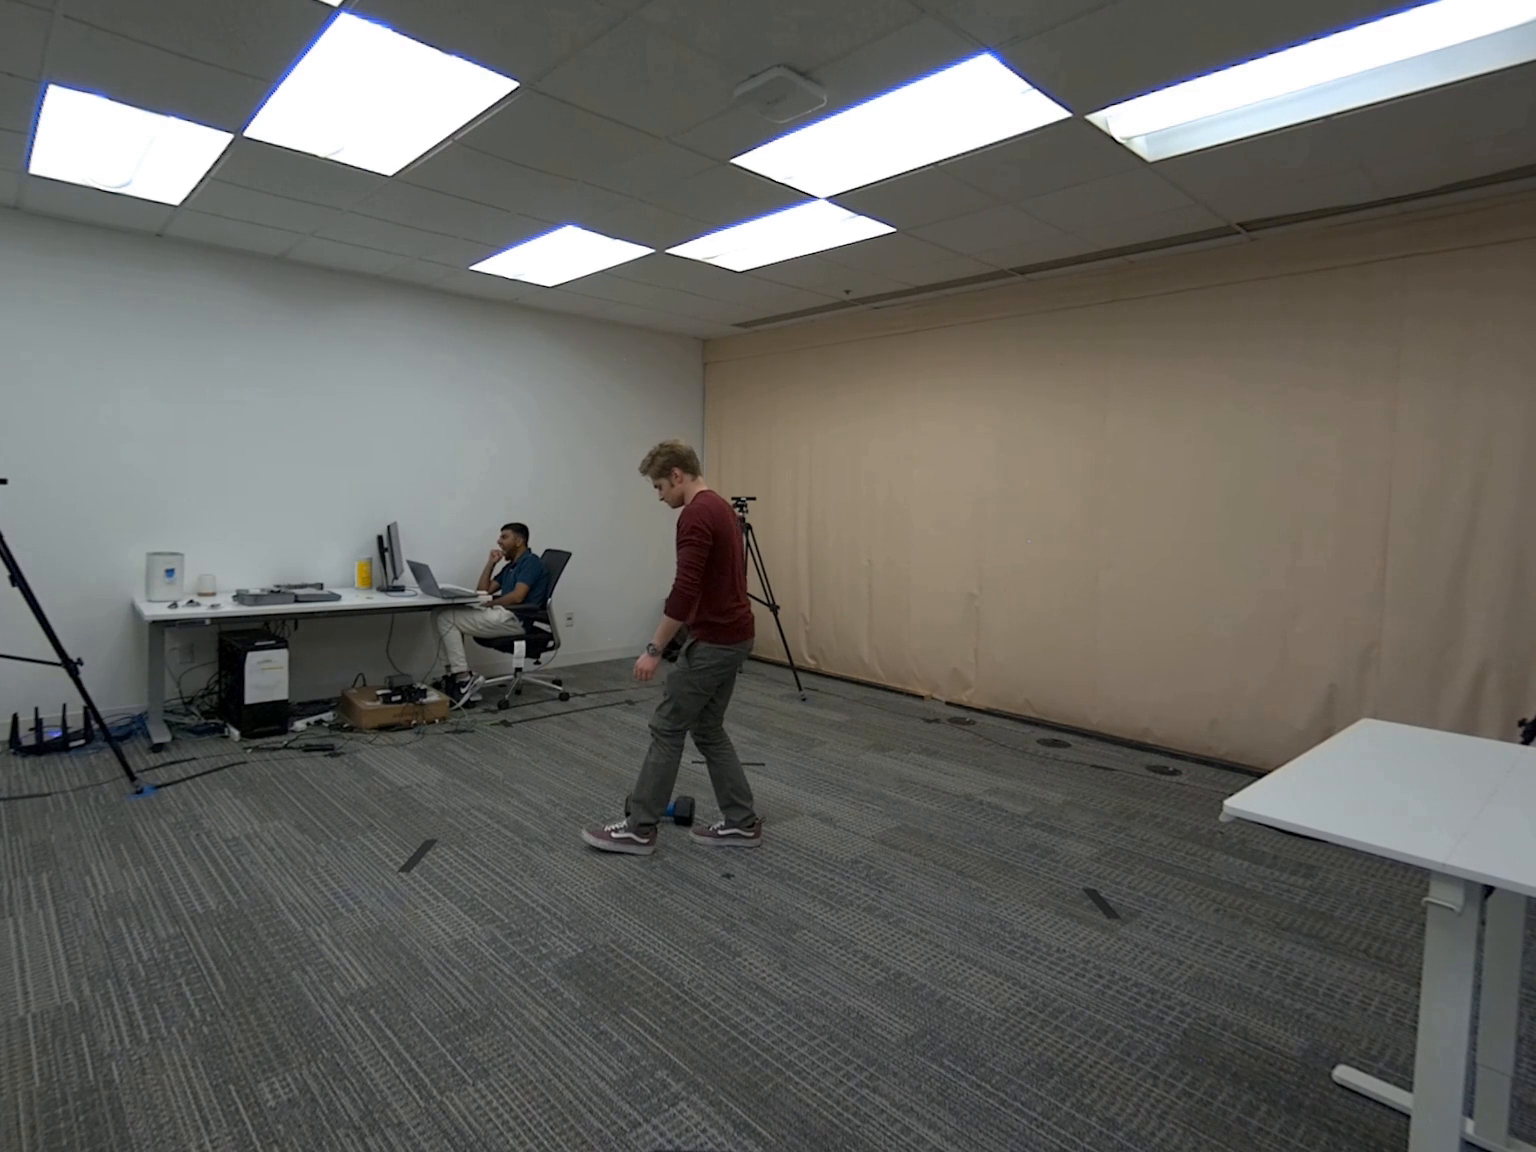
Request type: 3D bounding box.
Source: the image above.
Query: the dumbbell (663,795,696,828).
[{"bbox_3d":[-0.474,1.005,3.617,0.295,0.120,0.110,2,36,7],"label":"dumbbell"}]
